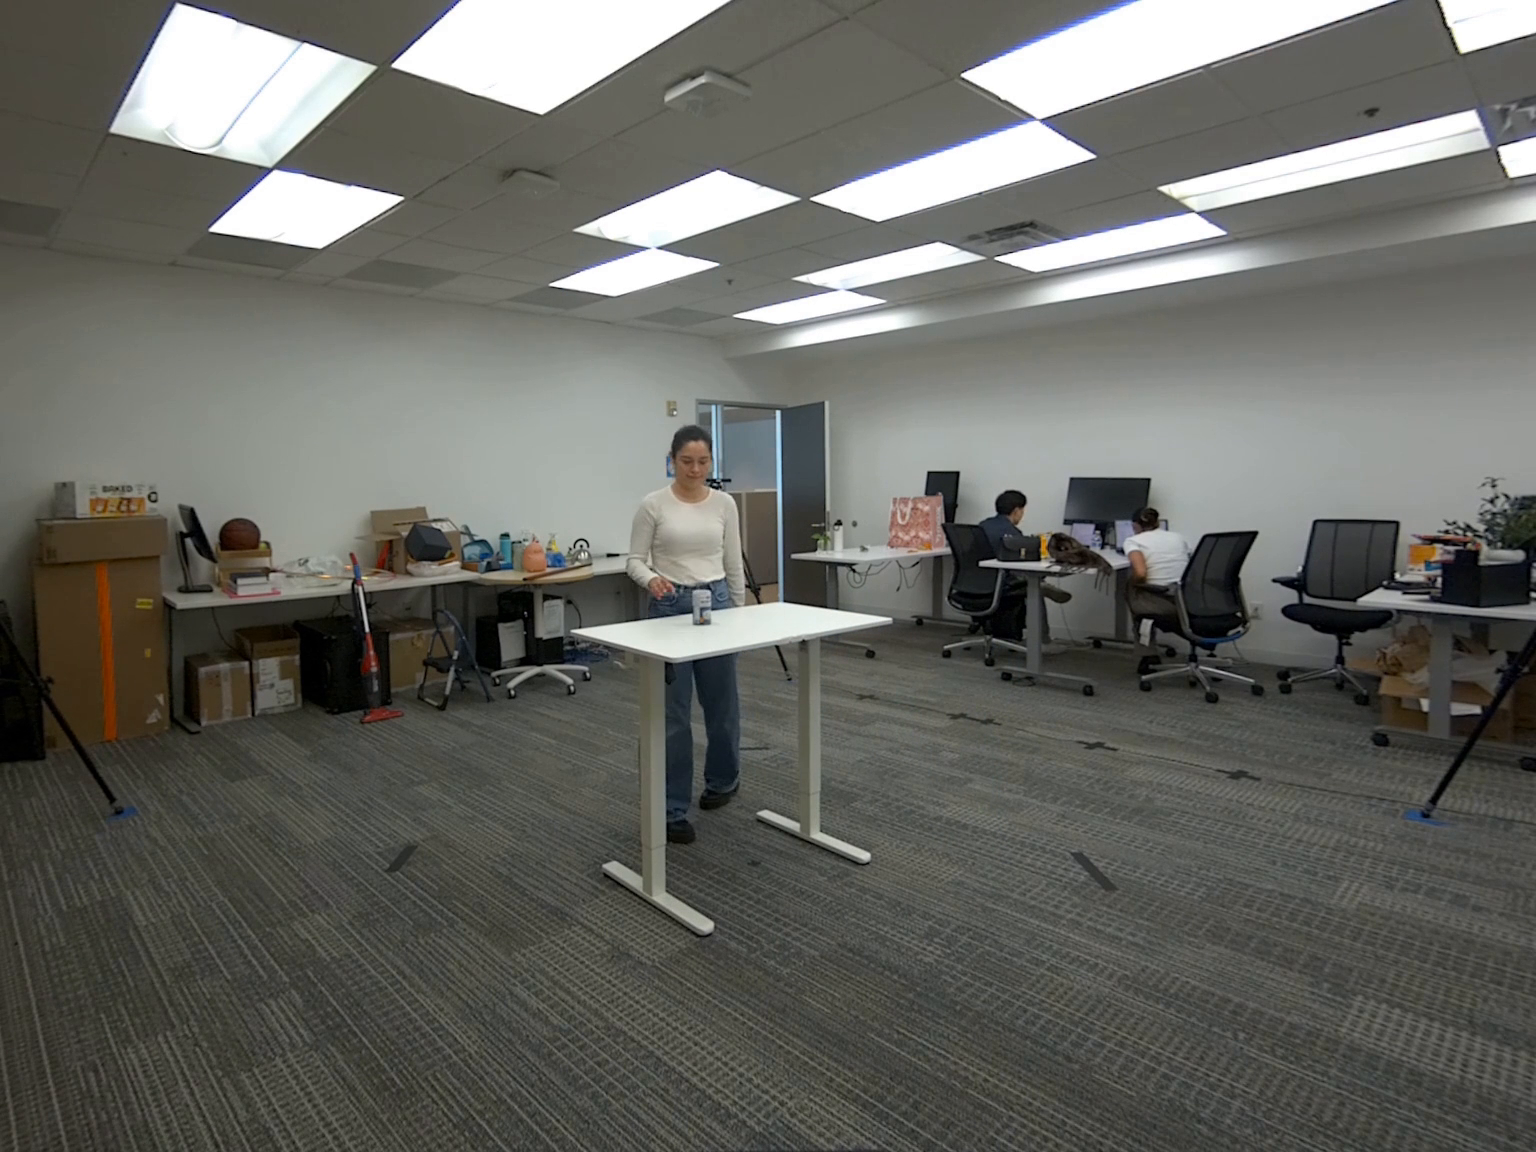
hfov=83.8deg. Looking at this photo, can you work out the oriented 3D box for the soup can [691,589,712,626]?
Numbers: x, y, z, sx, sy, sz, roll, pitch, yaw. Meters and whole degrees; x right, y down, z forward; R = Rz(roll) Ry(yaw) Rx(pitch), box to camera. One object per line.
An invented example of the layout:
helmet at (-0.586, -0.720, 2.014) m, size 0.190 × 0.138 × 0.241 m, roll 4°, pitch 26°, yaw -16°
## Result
soup can at (-0.237, 0.116, 3.035) m, size 0.067 × 0.121 × 0.067 m, roll 2°, pitch 5°, yaw -2°
